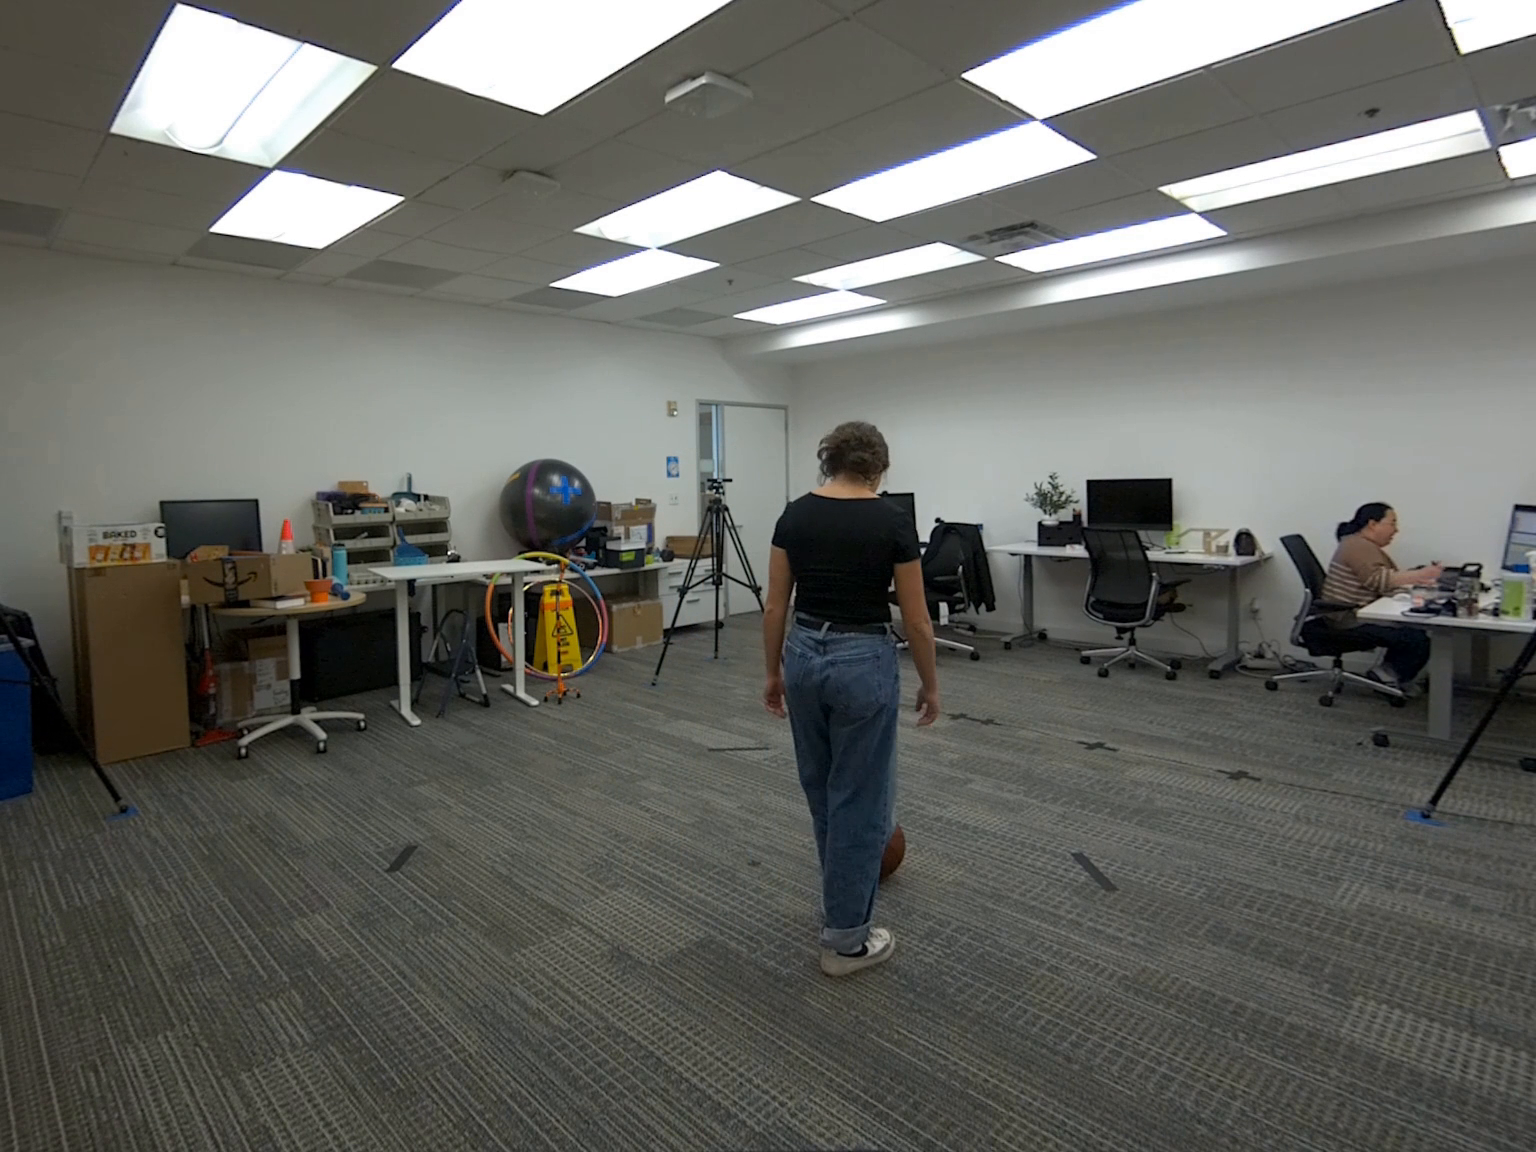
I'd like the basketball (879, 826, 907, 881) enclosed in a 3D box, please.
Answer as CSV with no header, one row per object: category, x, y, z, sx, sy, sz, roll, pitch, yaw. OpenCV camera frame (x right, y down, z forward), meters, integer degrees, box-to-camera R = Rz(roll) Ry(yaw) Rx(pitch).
basketball,0.366,0.930,2.982,0.236,0.235,0.237,-1,5,-2
